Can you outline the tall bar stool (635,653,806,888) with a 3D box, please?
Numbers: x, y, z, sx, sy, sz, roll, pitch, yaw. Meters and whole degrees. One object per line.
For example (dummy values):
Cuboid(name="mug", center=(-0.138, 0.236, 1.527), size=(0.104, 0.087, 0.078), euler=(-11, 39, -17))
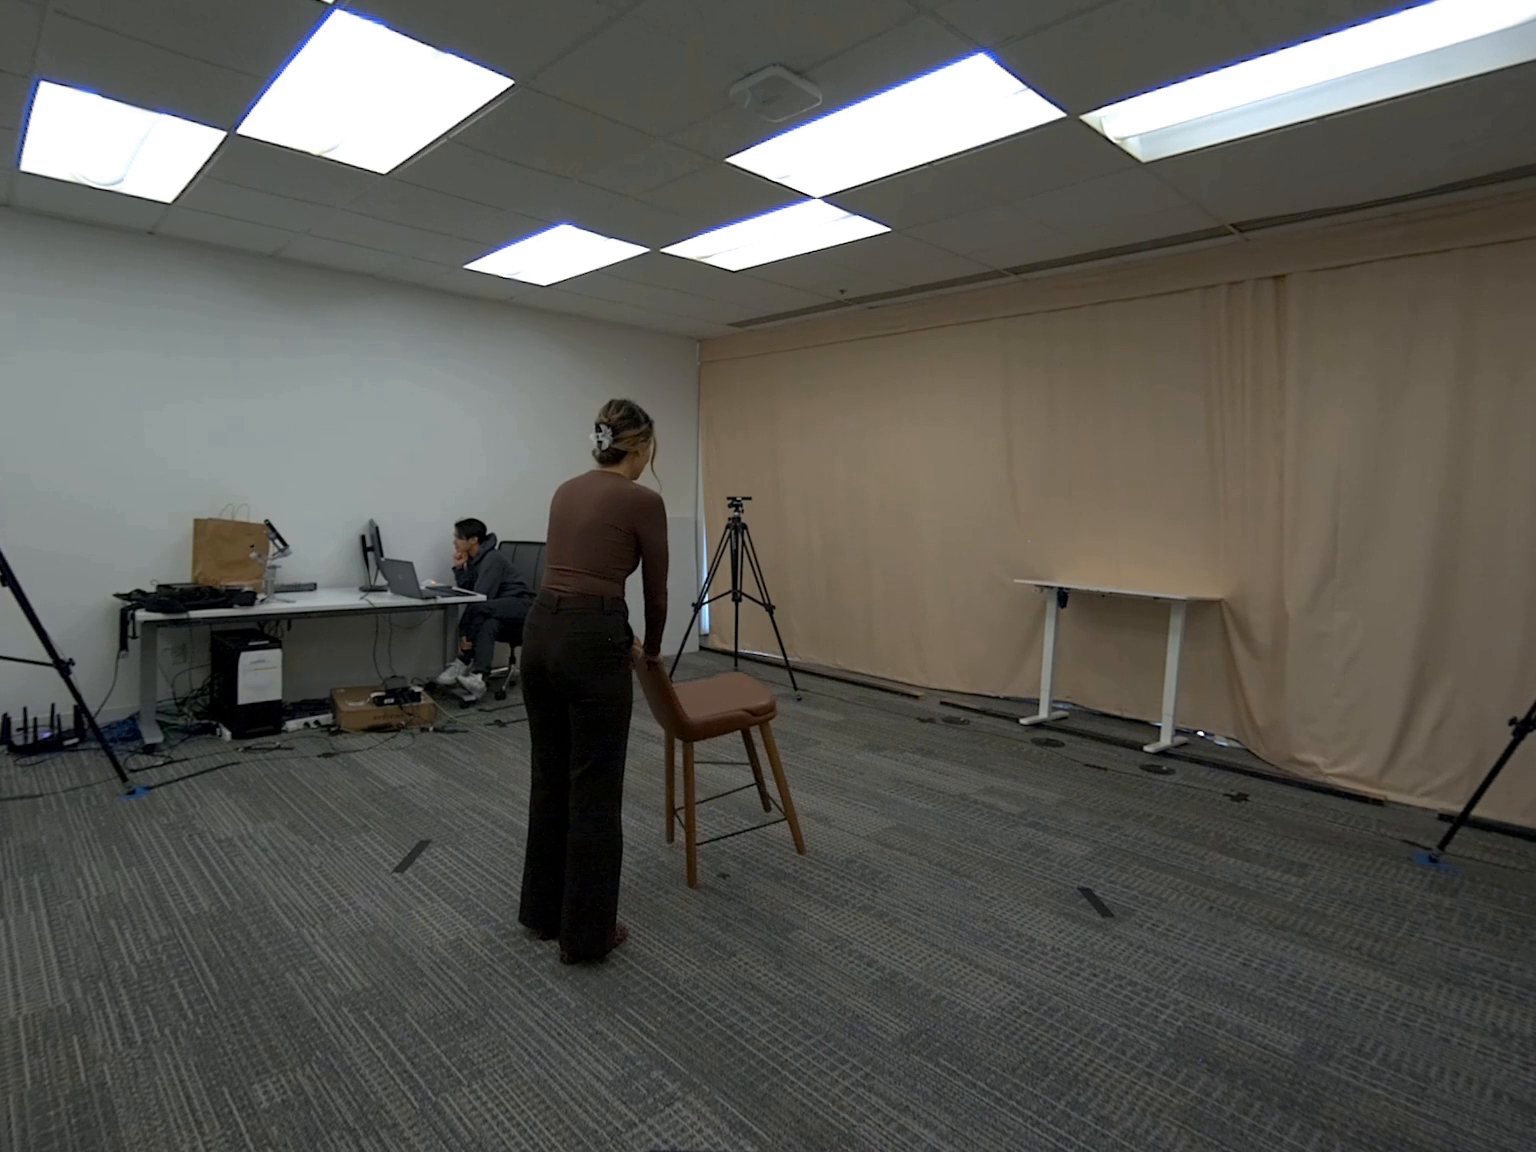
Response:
Cuboid(name="tall bar stool", center=(-0.210, 0.624, 3.162), size=(0.463, 0.882, 0.465), euler=(-13, 10, -17))
